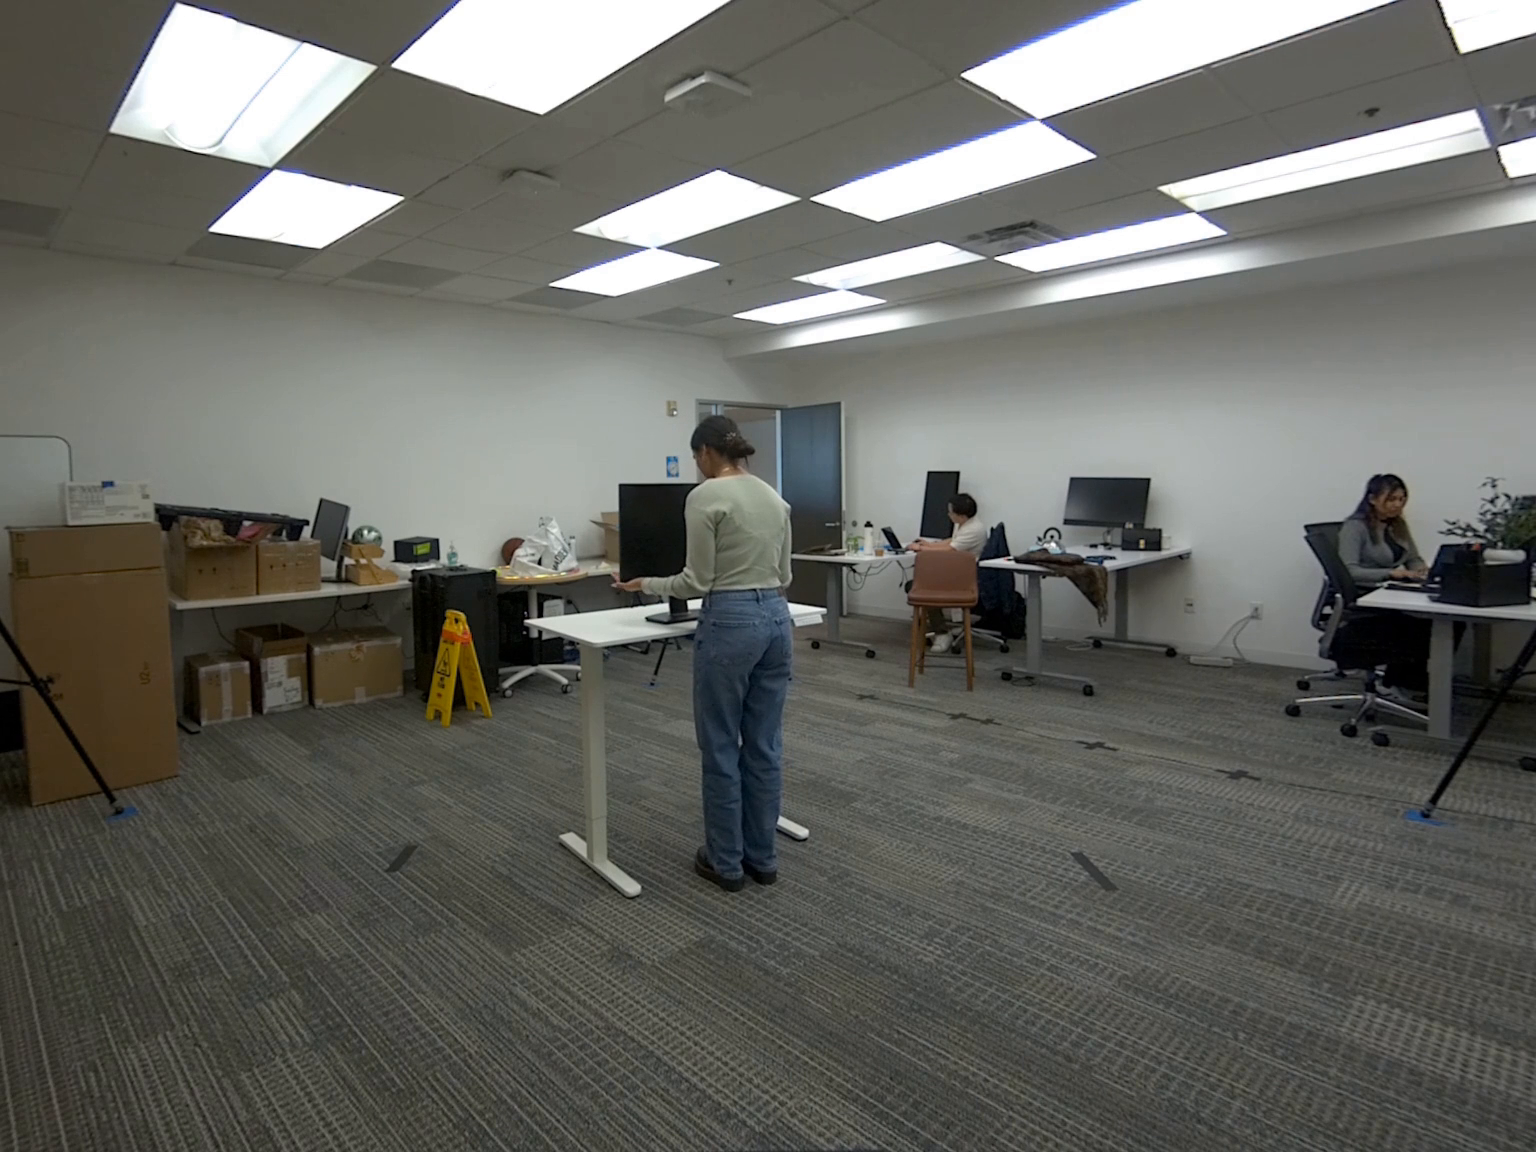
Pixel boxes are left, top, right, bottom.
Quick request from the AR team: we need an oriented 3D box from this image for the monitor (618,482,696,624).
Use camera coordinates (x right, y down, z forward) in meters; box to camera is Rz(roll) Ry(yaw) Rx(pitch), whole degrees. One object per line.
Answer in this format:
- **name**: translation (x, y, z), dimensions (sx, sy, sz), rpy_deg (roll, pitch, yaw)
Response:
- **monitor**: translation (-0.324, -0.083, 3.180), dimensions (0.525, 0.519, 0.193), rpy_deg (-5, 9, -39)
